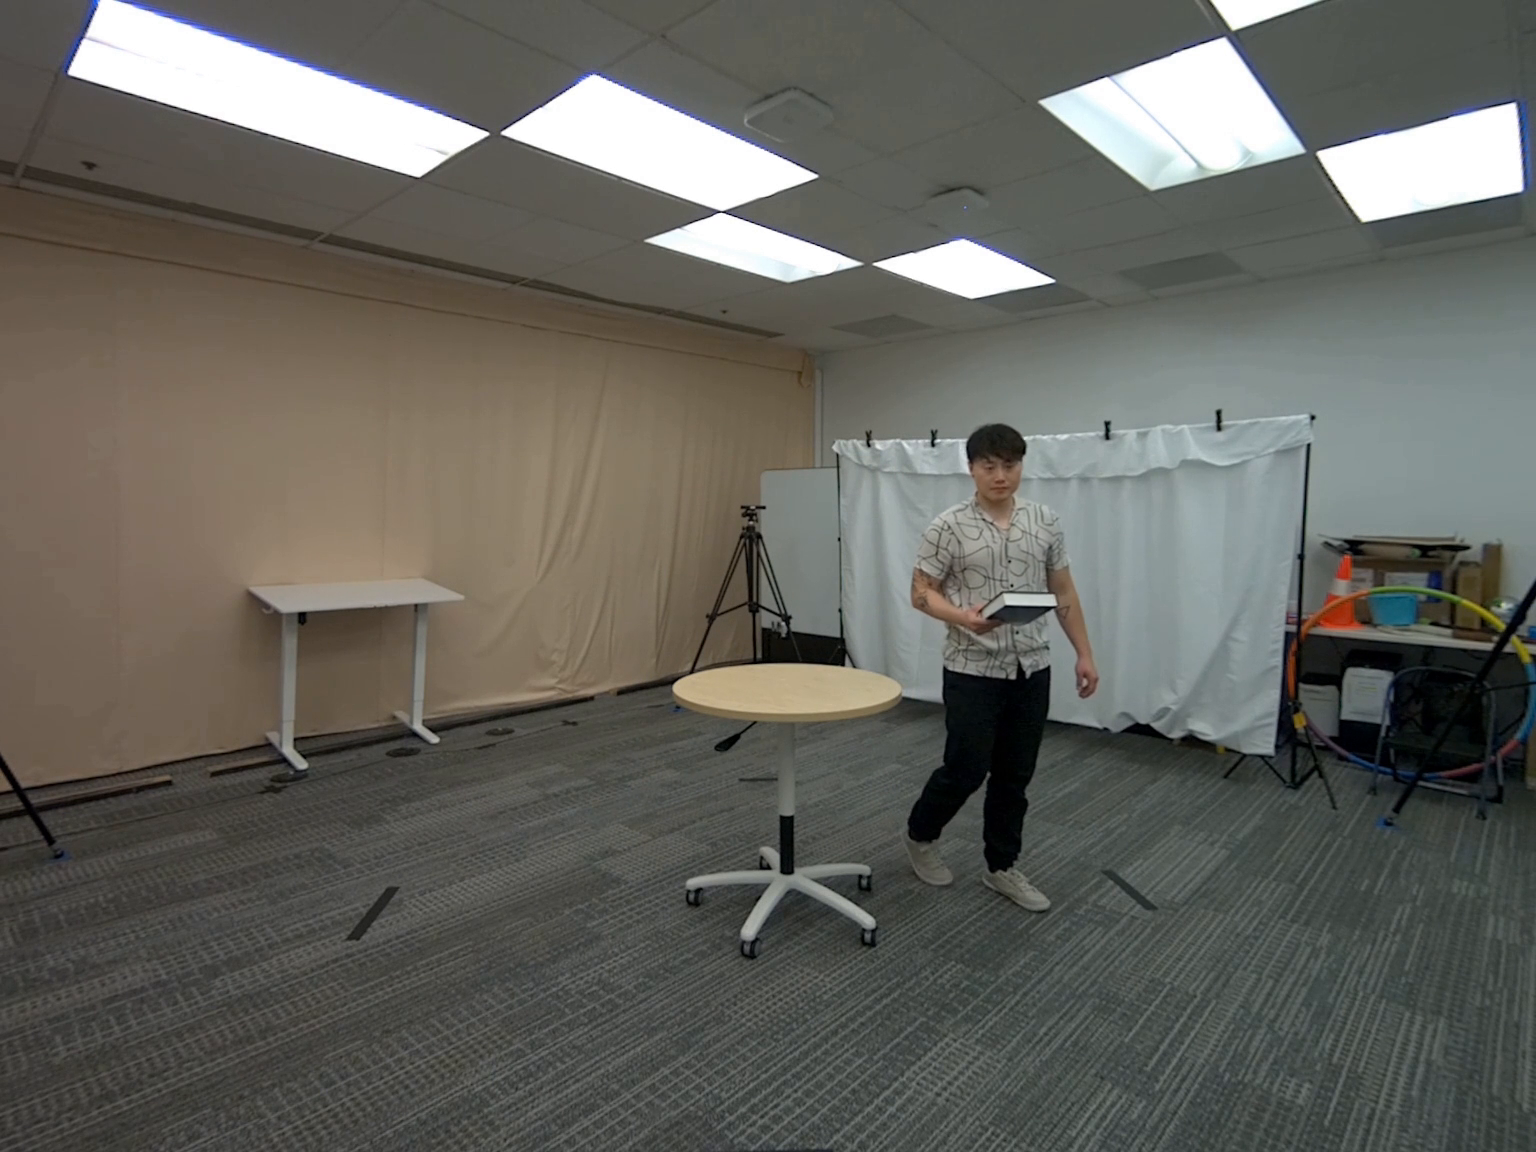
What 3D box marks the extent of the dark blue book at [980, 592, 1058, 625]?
[{"bbox_3d":[0.755,0.101,2.629,0.164,0.045,0.242,1,-16,0],"label":"dark blue book"}]
